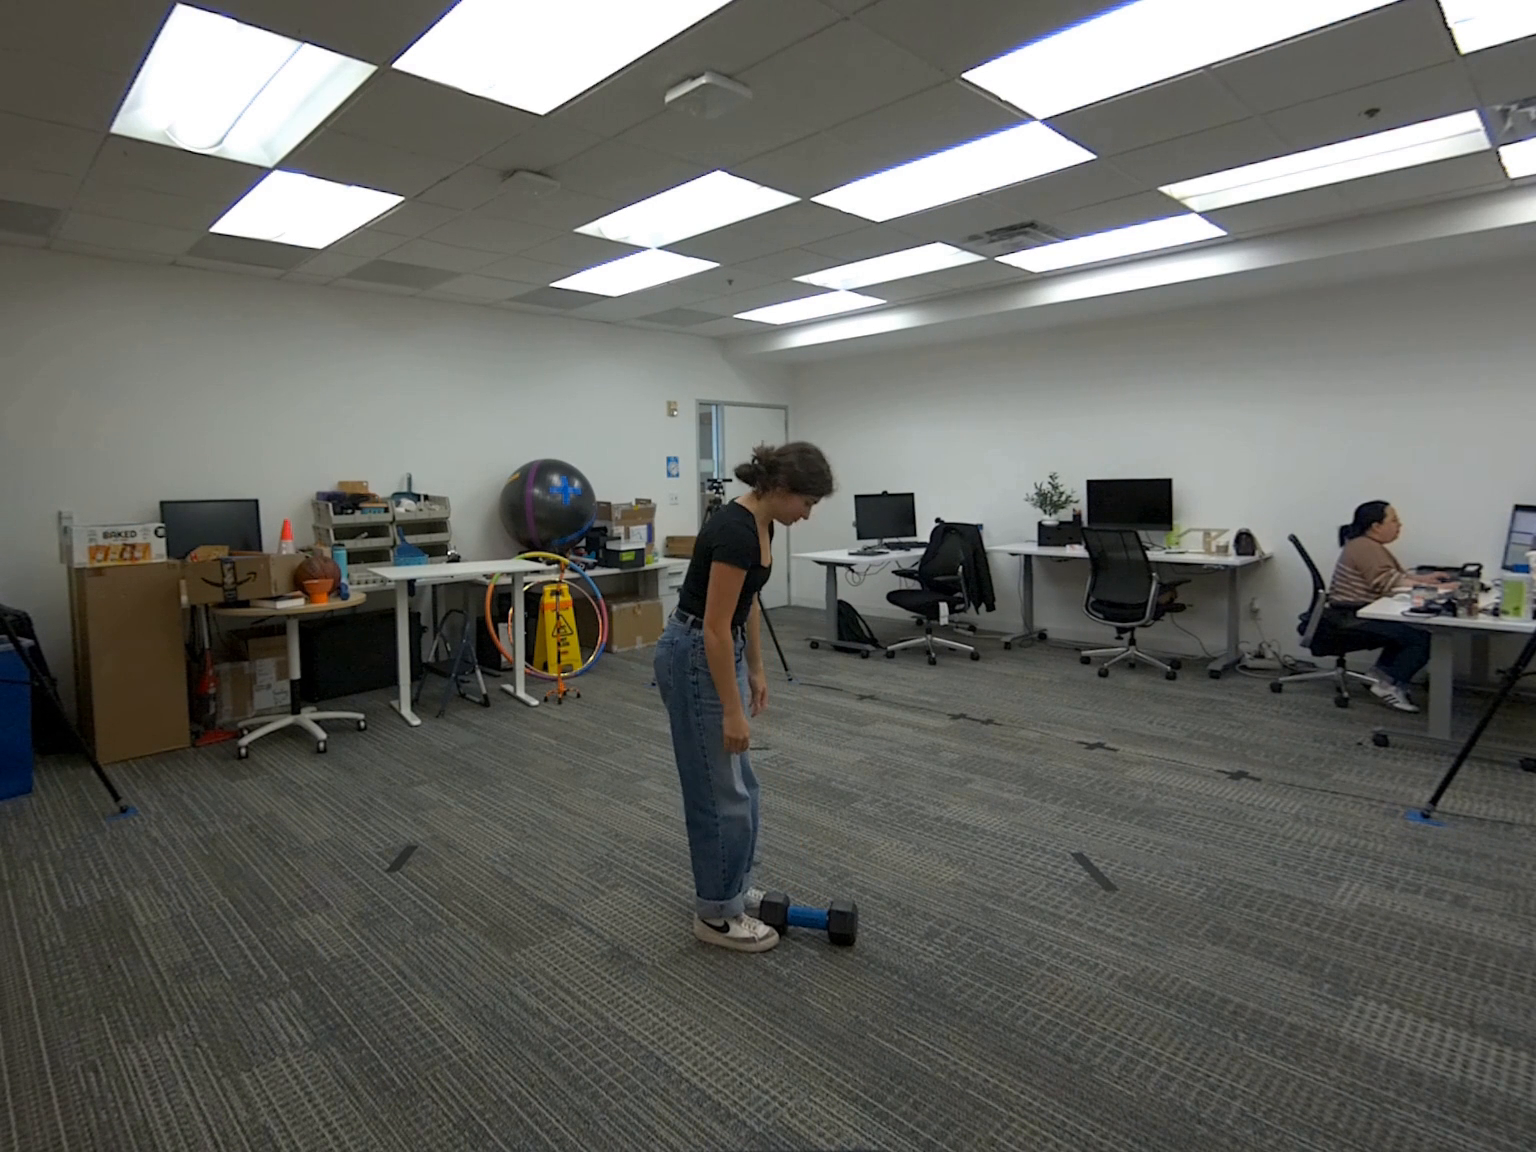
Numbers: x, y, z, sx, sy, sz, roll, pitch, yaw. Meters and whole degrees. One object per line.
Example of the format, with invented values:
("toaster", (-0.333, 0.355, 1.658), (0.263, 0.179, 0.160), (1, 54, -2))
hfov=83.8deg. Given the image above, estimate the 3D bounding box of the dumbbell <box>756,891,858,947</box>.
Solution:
("dumbbell", (0.135, 1.047, 2.606), (0.298, 0.119, 0.110), (1, 34, 16))
